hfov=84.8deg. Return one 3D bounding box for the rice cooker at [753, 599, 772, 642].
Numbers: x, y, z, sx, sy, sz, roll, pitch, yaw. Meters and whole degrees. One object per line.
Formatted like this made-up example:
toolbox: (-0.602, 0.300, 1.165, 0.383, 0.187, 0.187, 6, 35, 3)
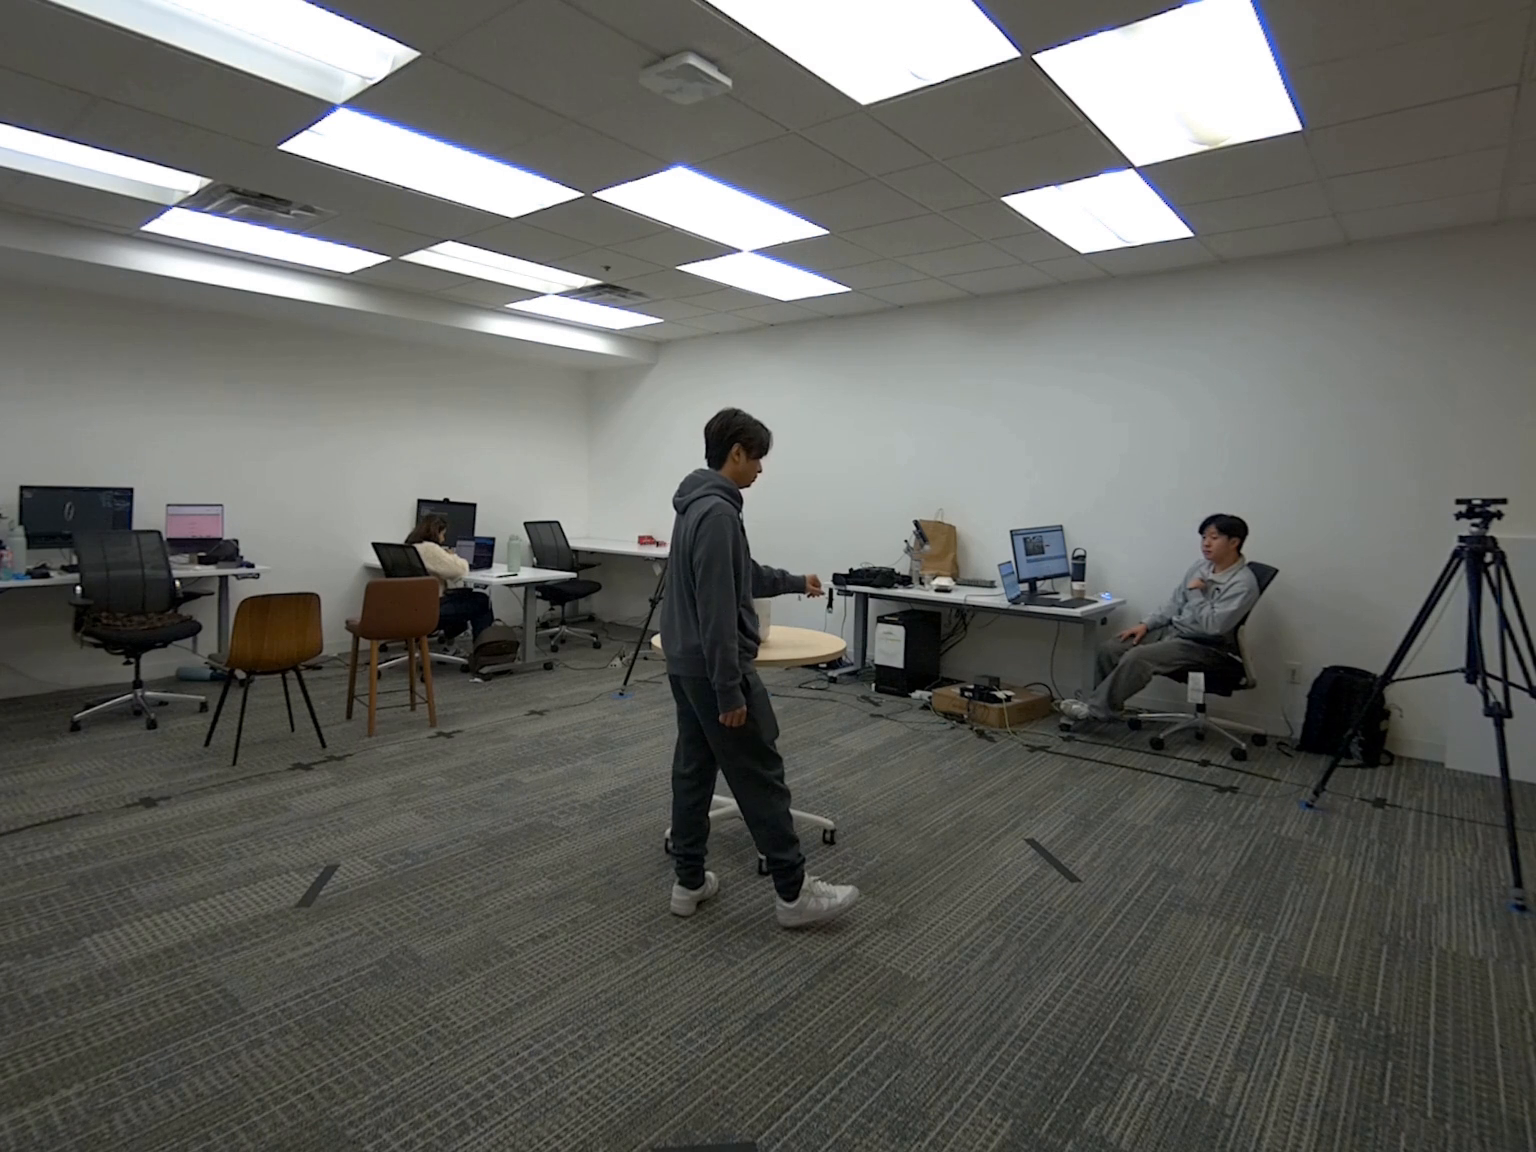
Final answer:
rice cooker: (-0.102, 0.133, 3.353, 0.214, 0.232, 0.225, -1, 6, -35)
